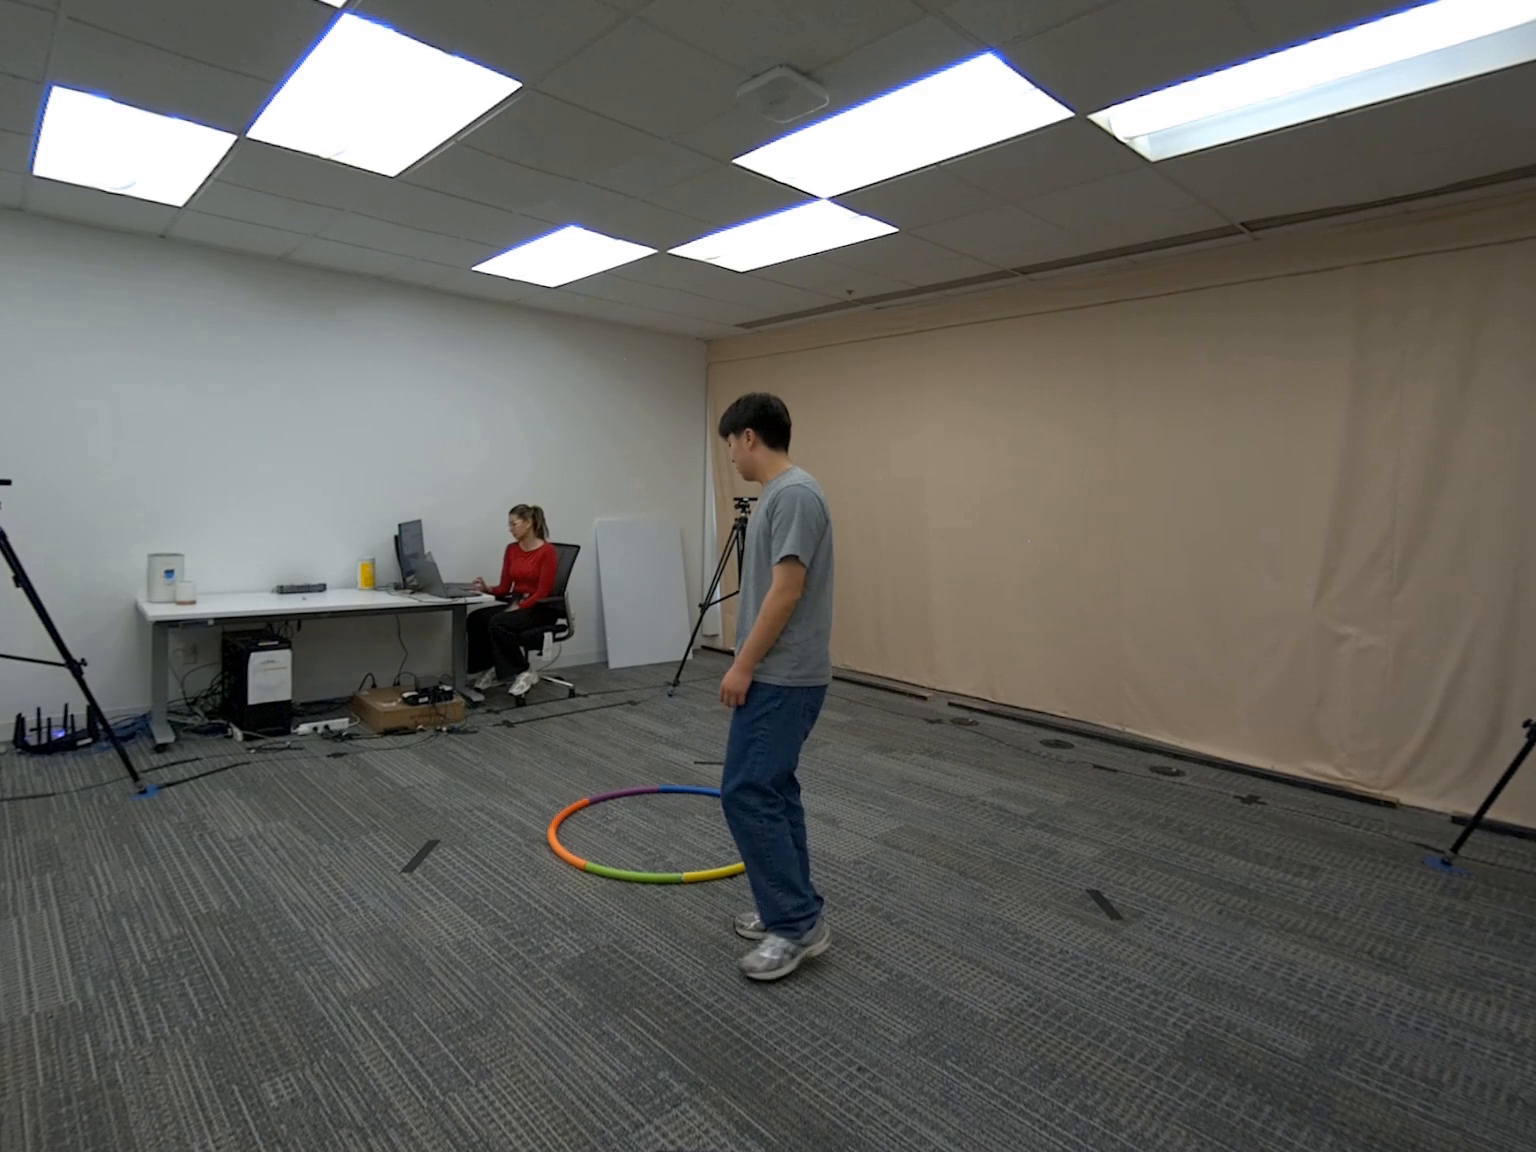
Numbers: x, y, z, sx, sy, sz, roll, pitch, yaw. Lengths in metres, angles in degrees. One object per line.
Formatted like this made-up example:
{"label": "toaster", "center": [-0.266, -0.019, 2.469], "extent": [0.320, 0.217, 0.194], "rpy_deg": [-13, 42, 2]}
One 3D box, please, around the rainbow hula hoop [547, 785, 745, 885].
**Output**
{"label": "rainbow hula hoop", "center": [-0.424, 1.036, 3.510], "extent": [0.978, 0.035, 0.982], "rpy_deg": [2, 5, -1]}
